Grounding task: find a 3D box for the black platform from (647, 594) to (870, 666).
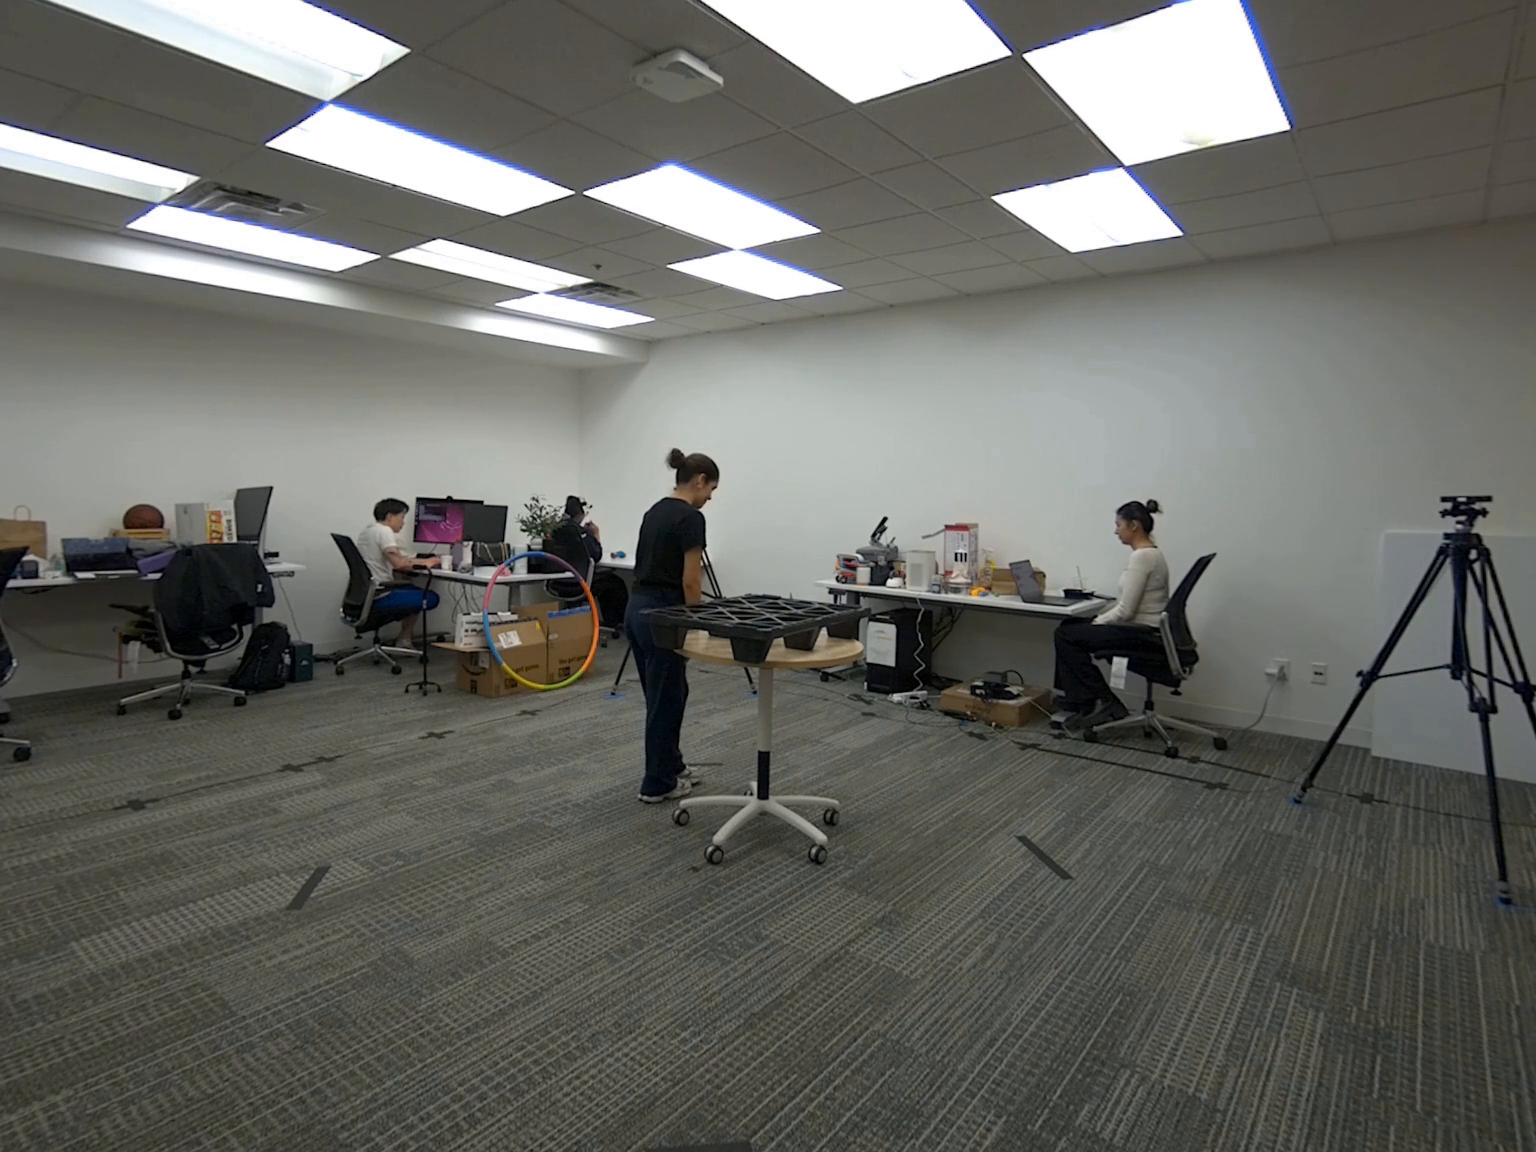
[{"bbox_3d":[-0.009,0.196,3.400,0.625,0.142,0.783,6,8,35],"label":"black platform"}]
